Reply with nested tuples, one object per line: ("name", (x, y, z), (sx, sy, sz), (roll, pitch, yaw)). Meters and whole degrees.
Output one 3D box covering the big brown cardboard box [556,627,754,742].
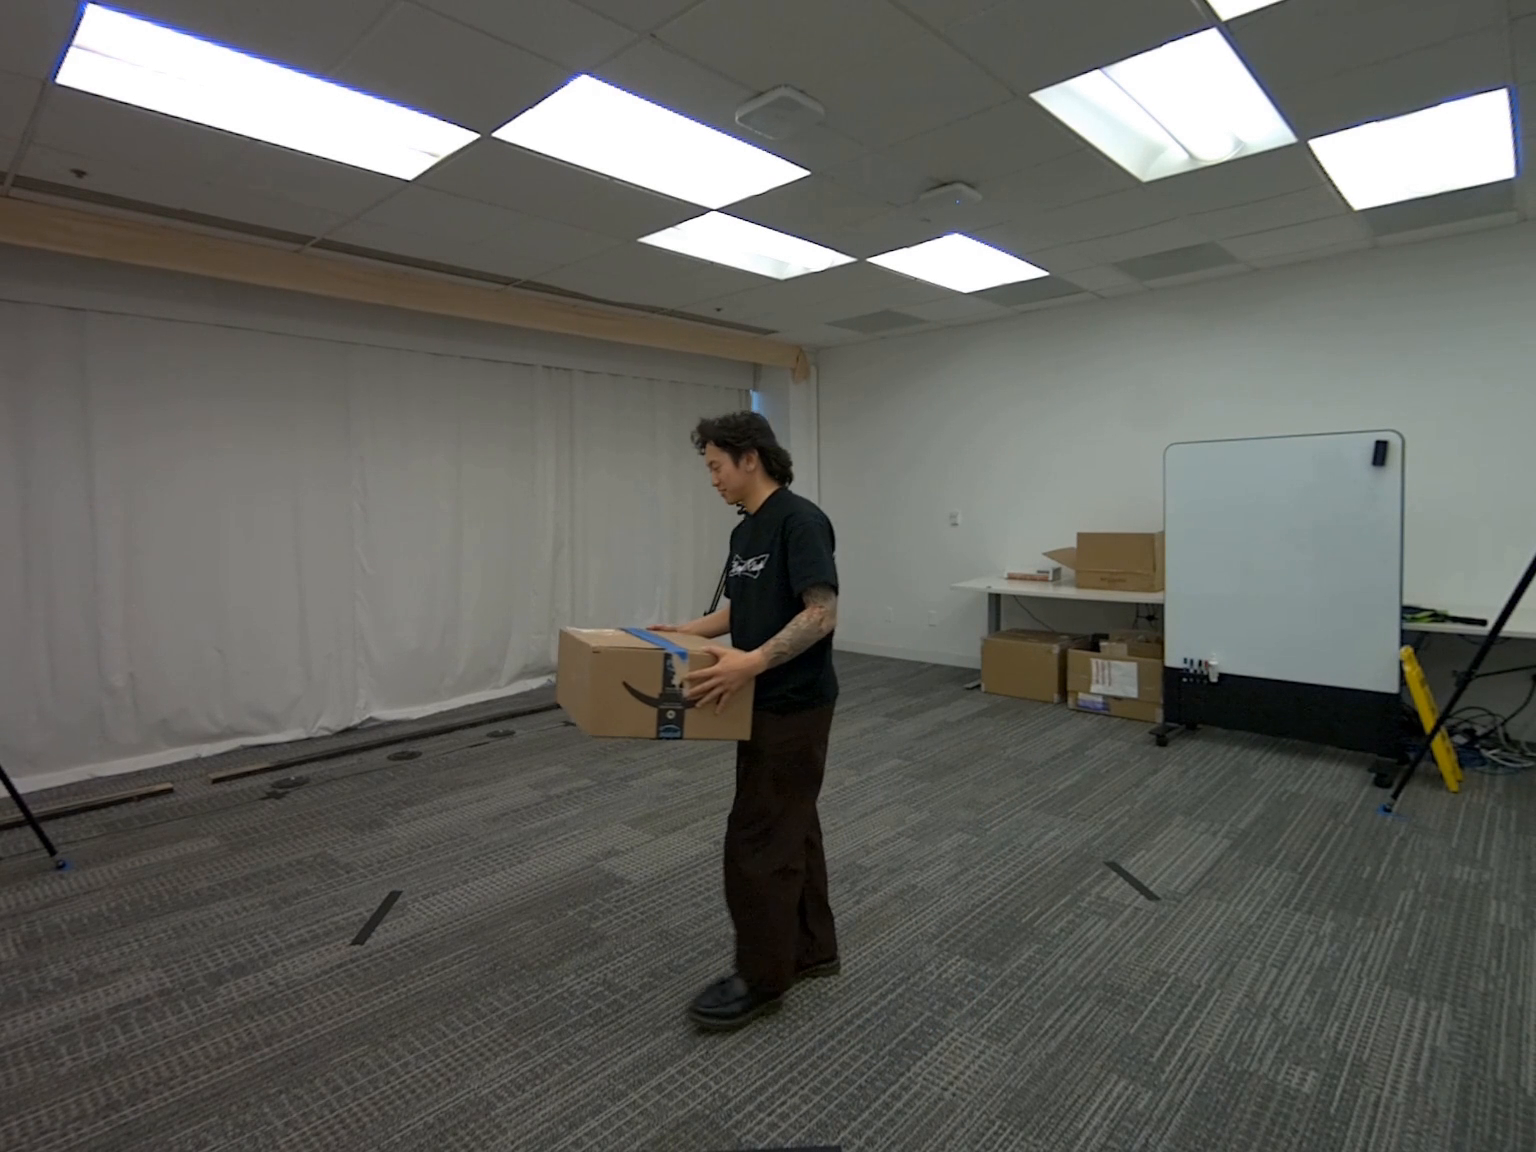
("big brown cardboard box", (-0.329, 0.286, 2.319), (0.409, 0.233, 0.601), (4, 1, -20))
